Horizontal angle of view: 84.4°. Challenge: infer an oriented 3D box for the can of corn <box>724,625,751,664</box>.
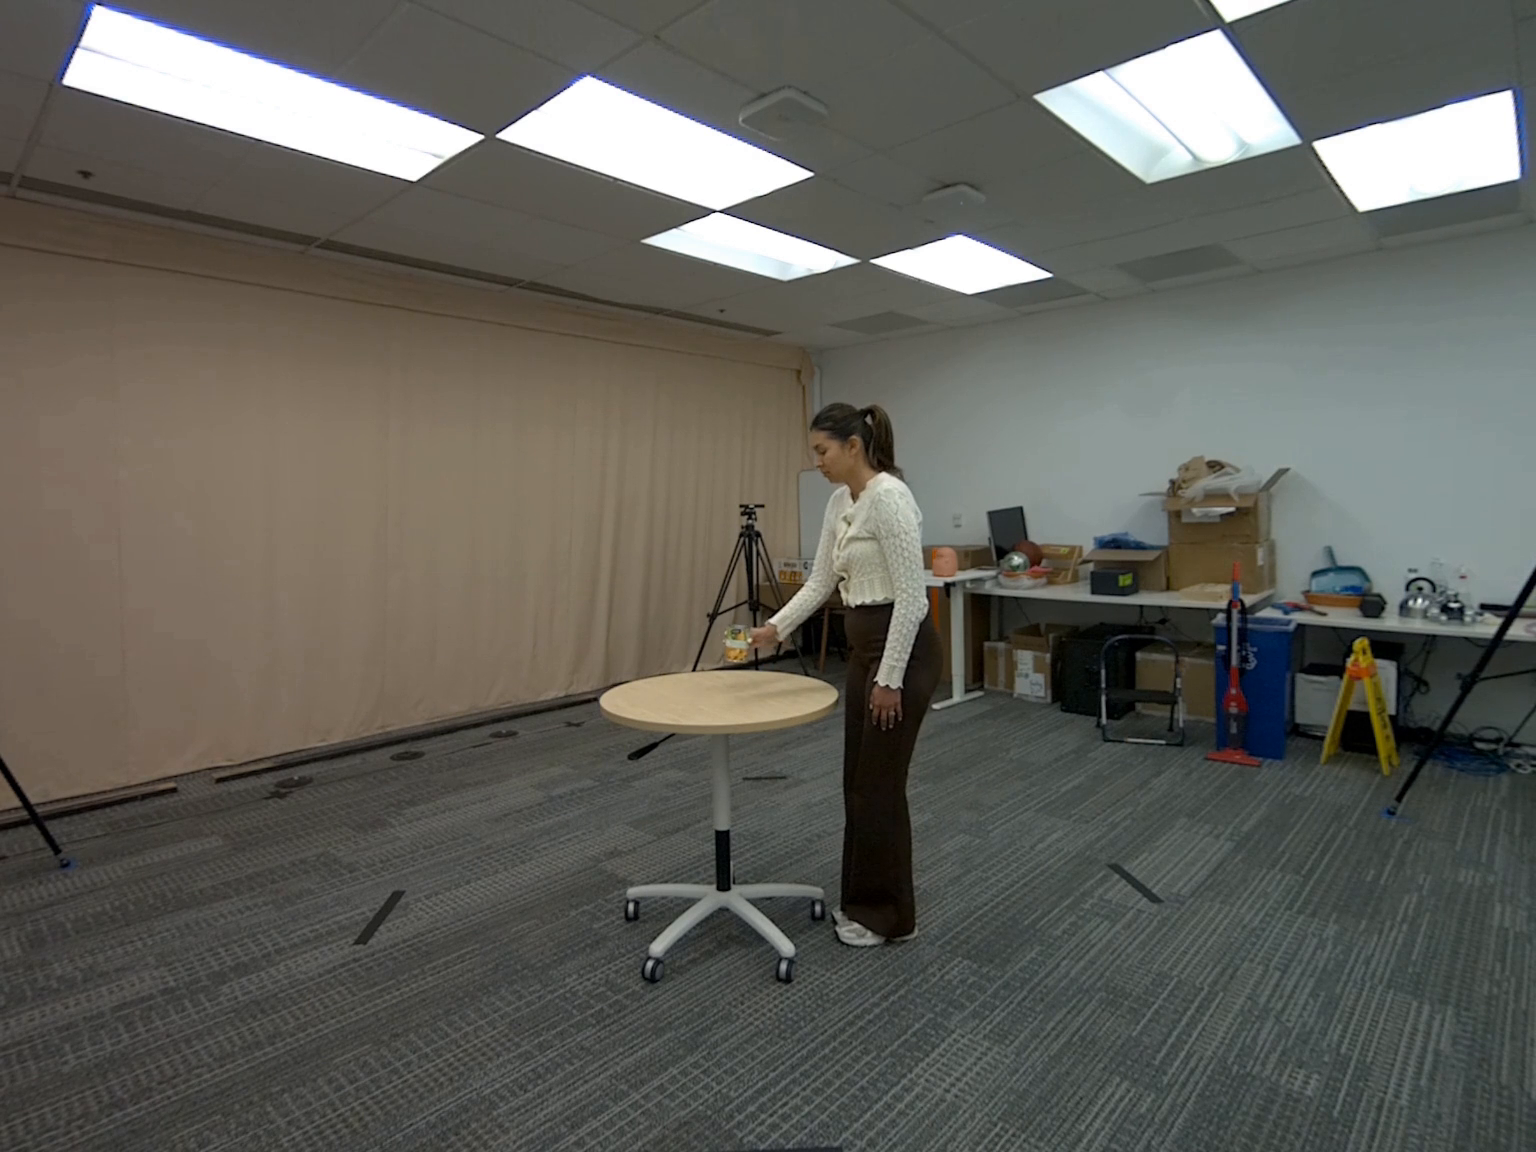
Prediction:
[{"bbox_3d":[-0.092,0.226,2.697,0.074,0.111,0.074,5,-2,-2],"label":"can of corn"}]
